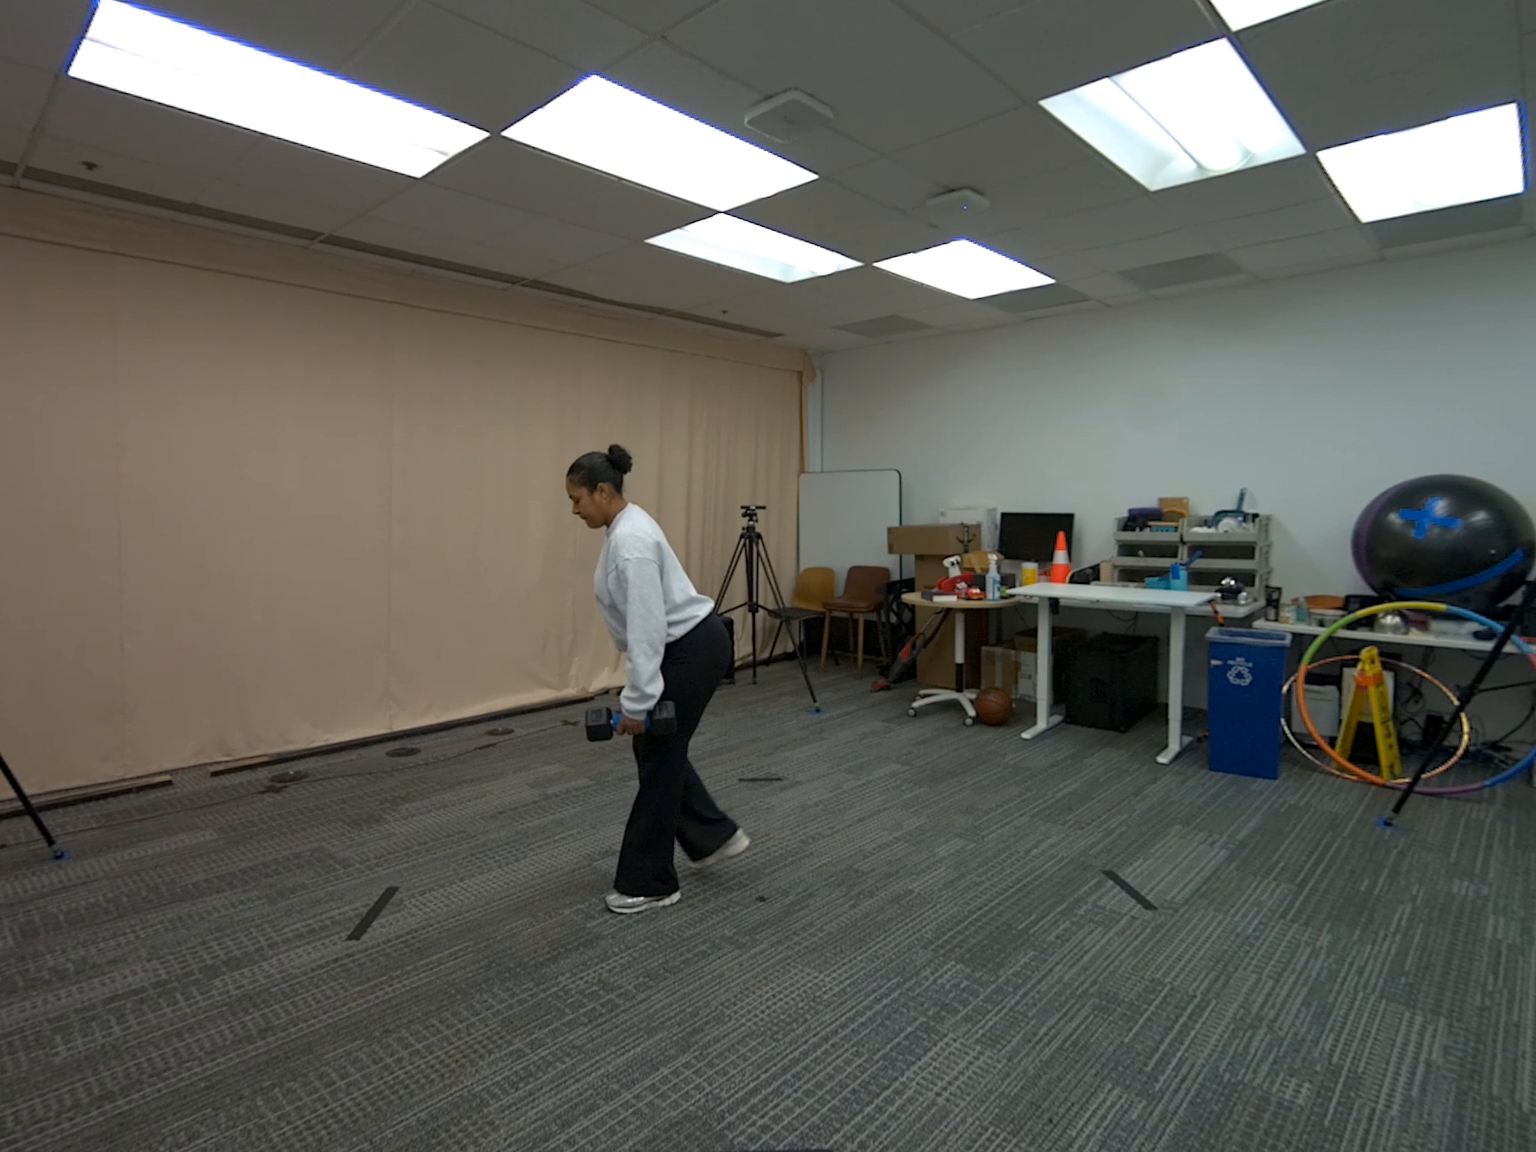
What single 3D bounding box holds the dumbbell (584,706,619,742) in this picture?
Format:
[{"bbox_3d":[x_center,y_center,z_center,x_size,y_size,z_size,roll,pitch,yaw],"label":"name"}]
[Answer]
[{"bbox_3d":[-0.445,0.473,2.770,0.293,0.121,0.110,-6,20,-2],"label":"dumbbell"}]
